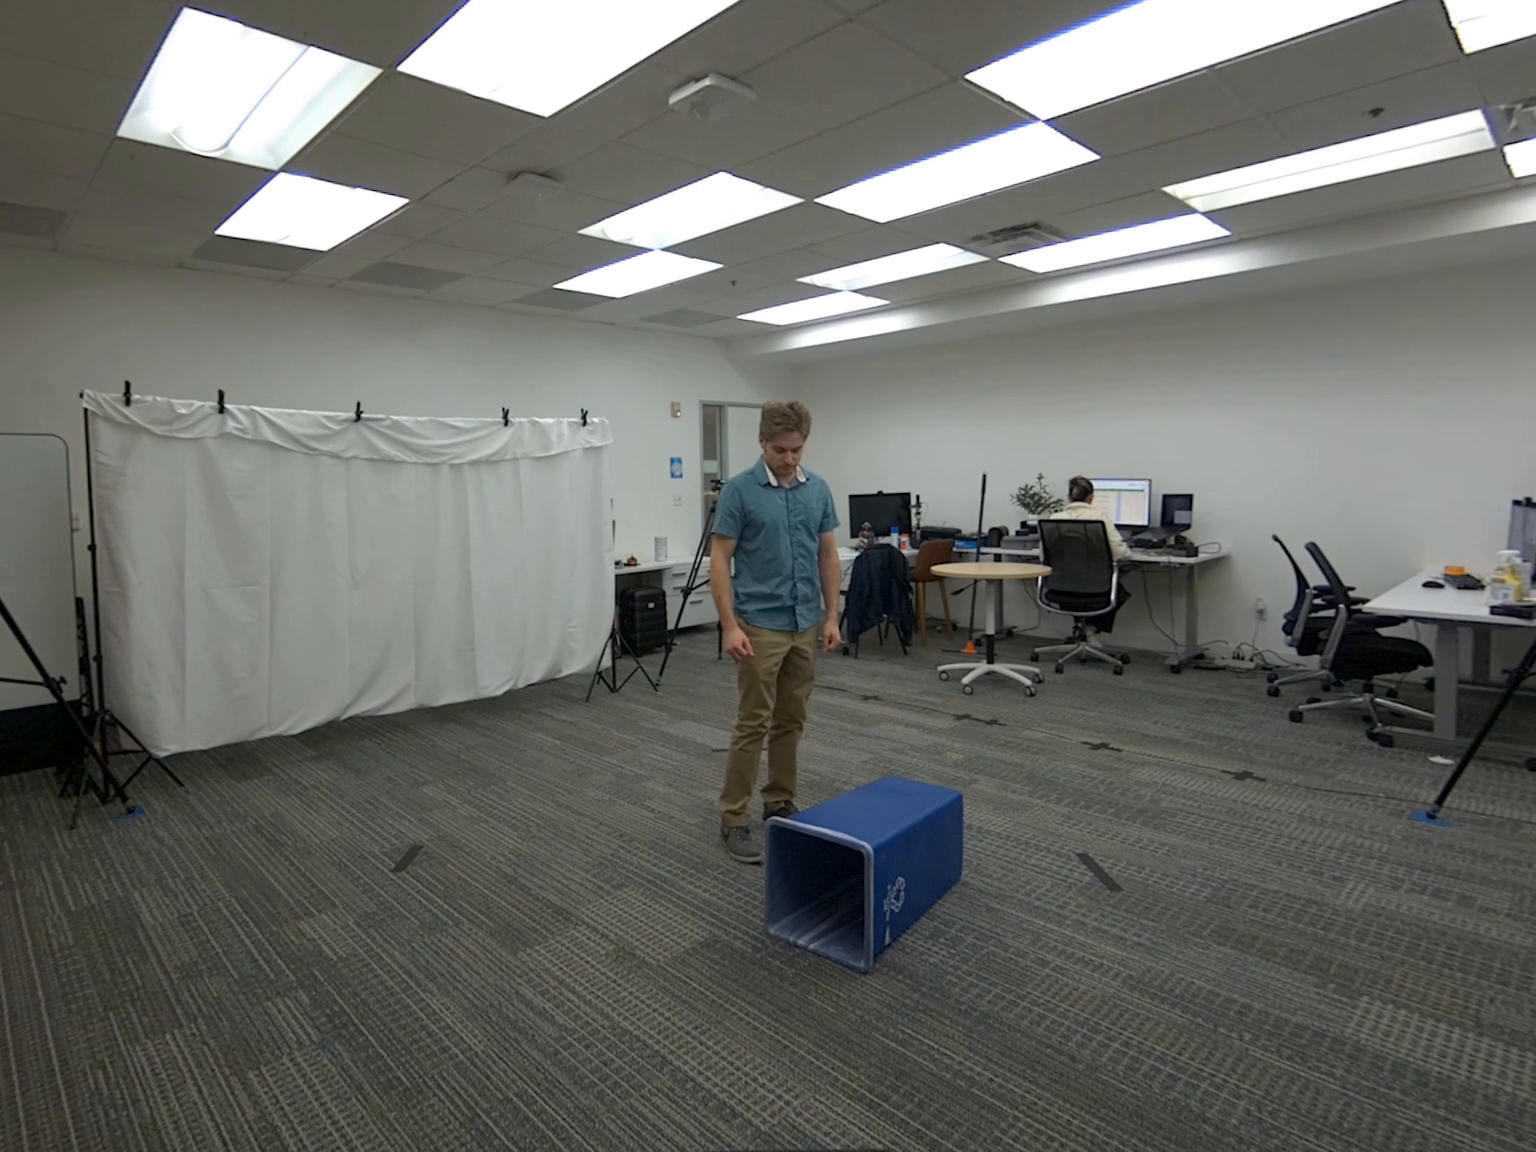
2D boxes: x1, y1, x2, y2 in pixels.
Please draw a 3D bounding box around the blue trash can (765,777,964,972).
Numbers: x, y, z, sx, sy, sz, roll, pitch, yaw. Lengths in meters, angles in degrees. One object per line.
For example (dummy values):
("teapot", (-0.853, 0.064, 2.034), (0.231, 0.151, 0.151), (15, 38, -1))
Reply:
("blue trash can", (0.343, 0.915, 2.782), (0.385, 0.377, 0.694), (2, 4, 37))
